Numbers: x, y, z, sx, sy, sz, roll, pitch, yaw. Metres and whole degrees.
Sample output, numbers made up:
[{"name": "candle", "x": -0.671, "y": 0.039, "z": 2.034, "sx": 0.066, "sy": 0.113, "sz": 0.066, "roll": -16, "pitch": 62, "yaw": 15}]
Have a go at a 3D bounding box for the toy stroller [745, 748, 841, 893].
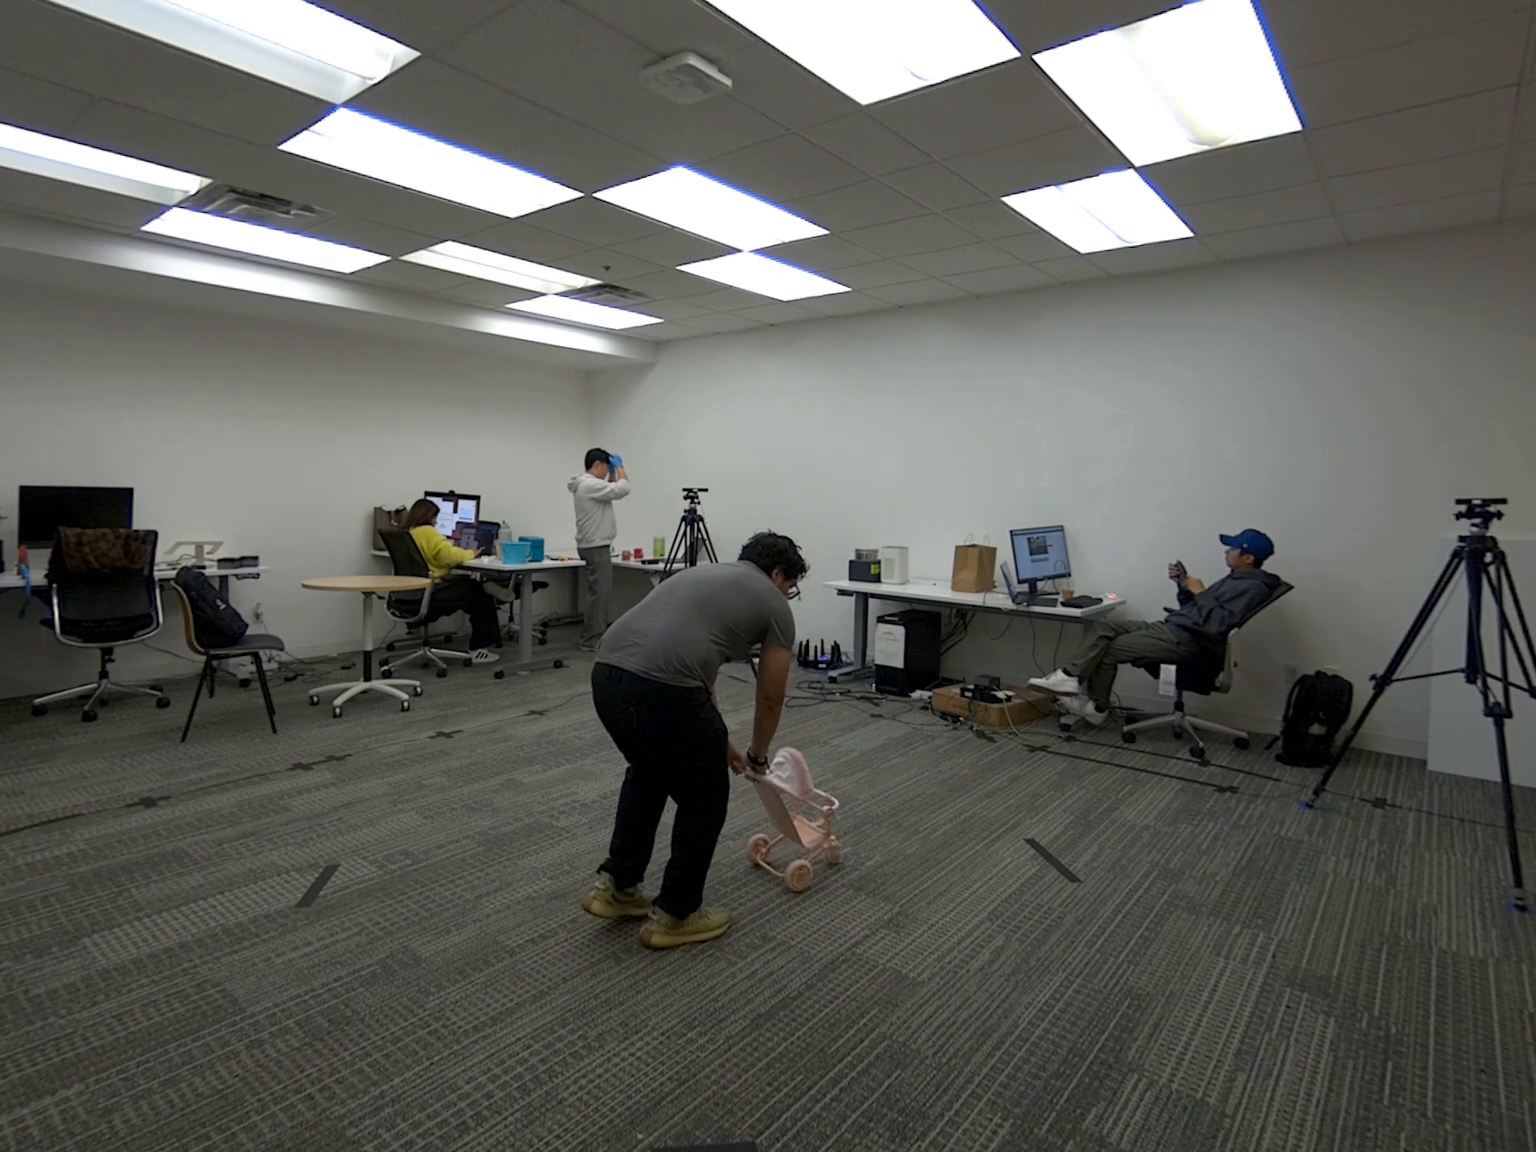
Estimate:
[{"name": "toy stroller", "x": 0.083, "y": 0.852, "z": 3.077, "sx": 0.336, "sy": 0.528, "sz": 0.290, "roll": -19, "pitch": 12, "yaw": -26}]
